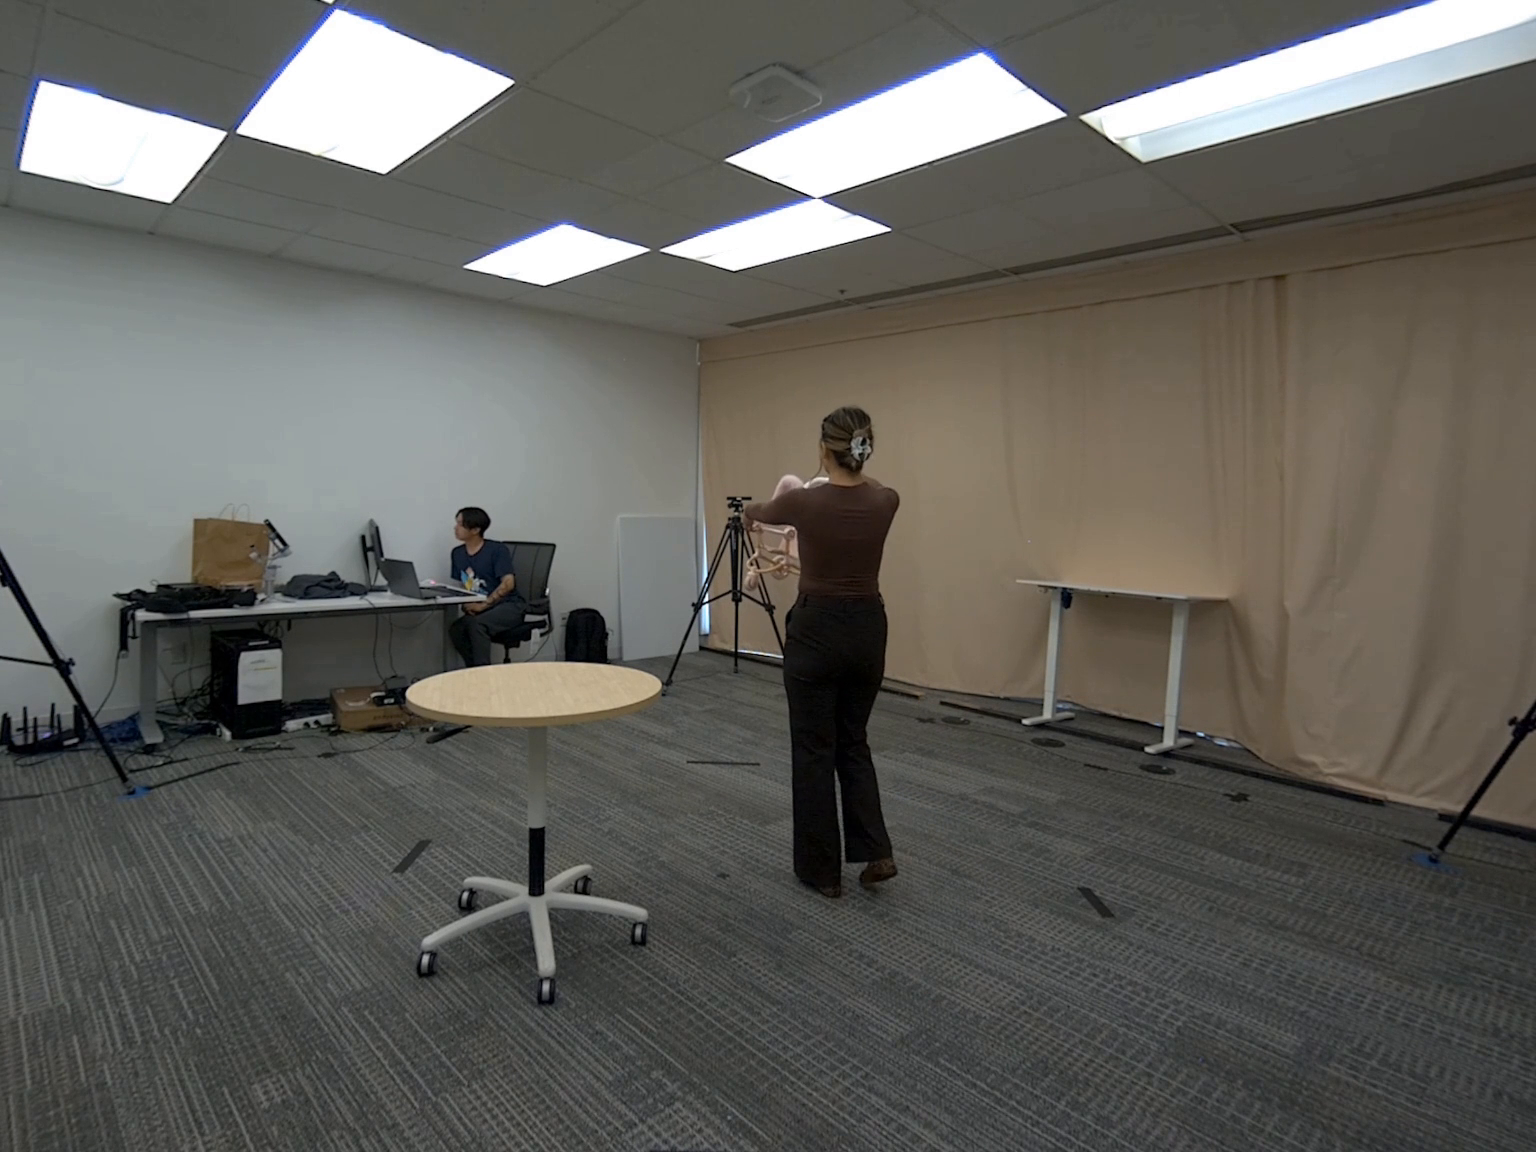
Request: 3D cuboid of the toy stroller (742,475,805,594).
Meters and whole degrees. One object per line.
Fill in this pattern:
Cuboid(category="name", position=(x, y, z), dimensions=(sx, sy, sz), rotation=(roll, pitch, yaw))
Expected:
Cuboid(category="toy stroller", position=(0.076, -0.176, 3.539), dimensions=(0.333, 0.535, 0.288), rotation=(12, 1, -32))
